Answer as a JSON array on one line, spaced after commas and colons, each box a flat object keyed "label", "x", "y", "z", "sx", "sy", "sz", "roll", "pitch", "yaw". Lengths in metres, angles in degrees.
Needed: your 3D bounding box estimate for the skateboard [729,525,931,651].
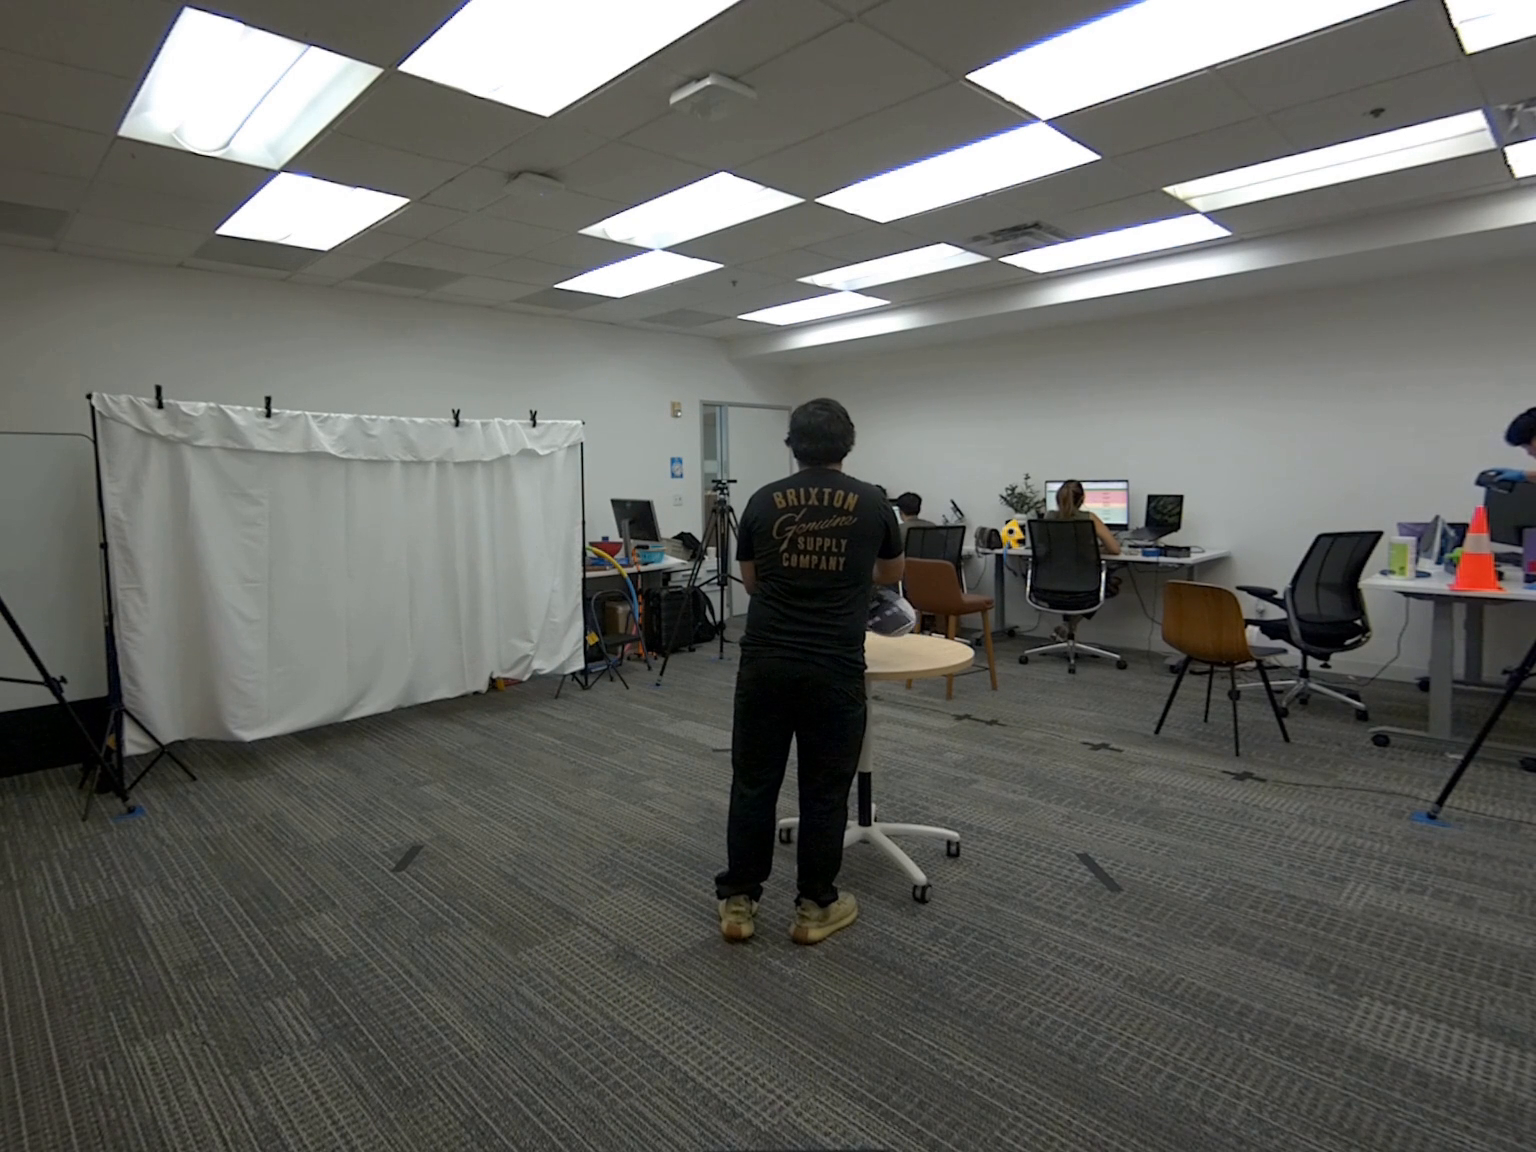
[{"label": "skateboard", "x": 0.193, "y": -0.012, "z": 3.012, "sx": 0.192, "sy": 0.107, "sz": 0.816, "roll": -31, "pitch": 42, "yaw": -27}]
